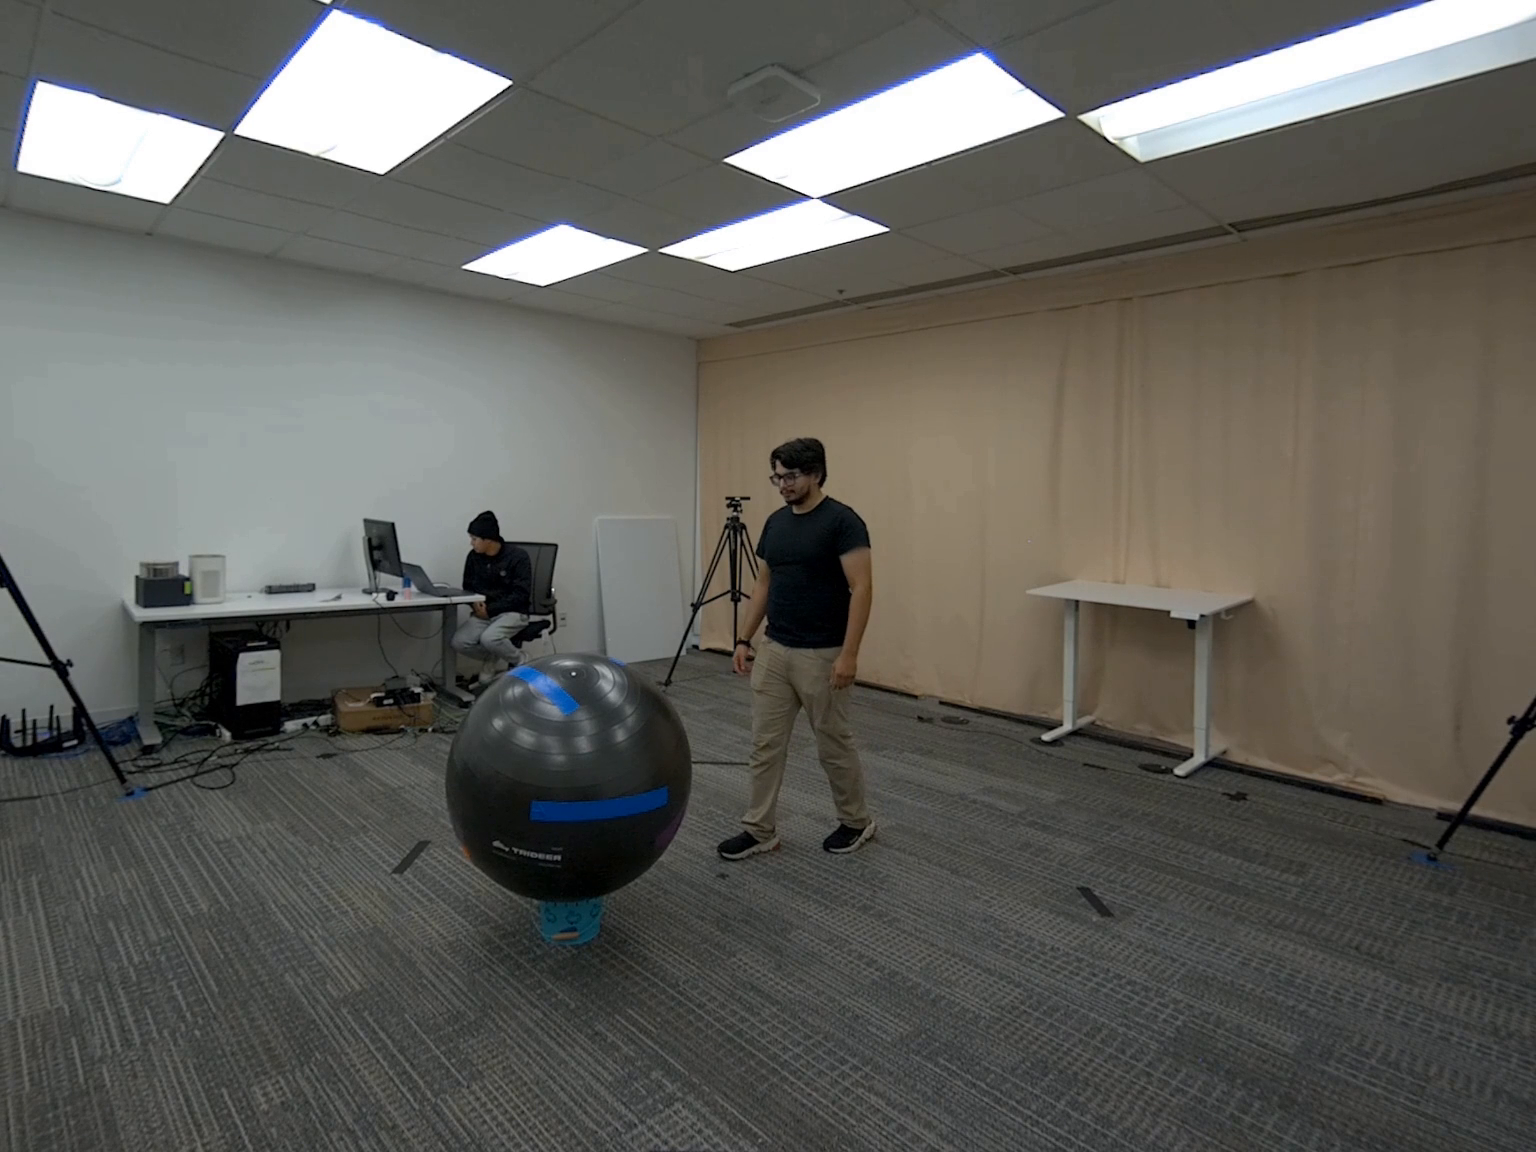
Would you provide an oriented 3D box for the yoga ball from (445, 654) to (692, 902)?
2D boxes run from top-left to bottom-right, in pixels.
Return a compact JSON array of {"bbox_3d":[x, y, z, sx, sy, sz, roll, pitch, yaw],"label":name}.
[{"bbox_3d":[-0.621,0.630,2.650,0.757,0.756,0.760,1,4,-1],"label":"yoga ball"}]
